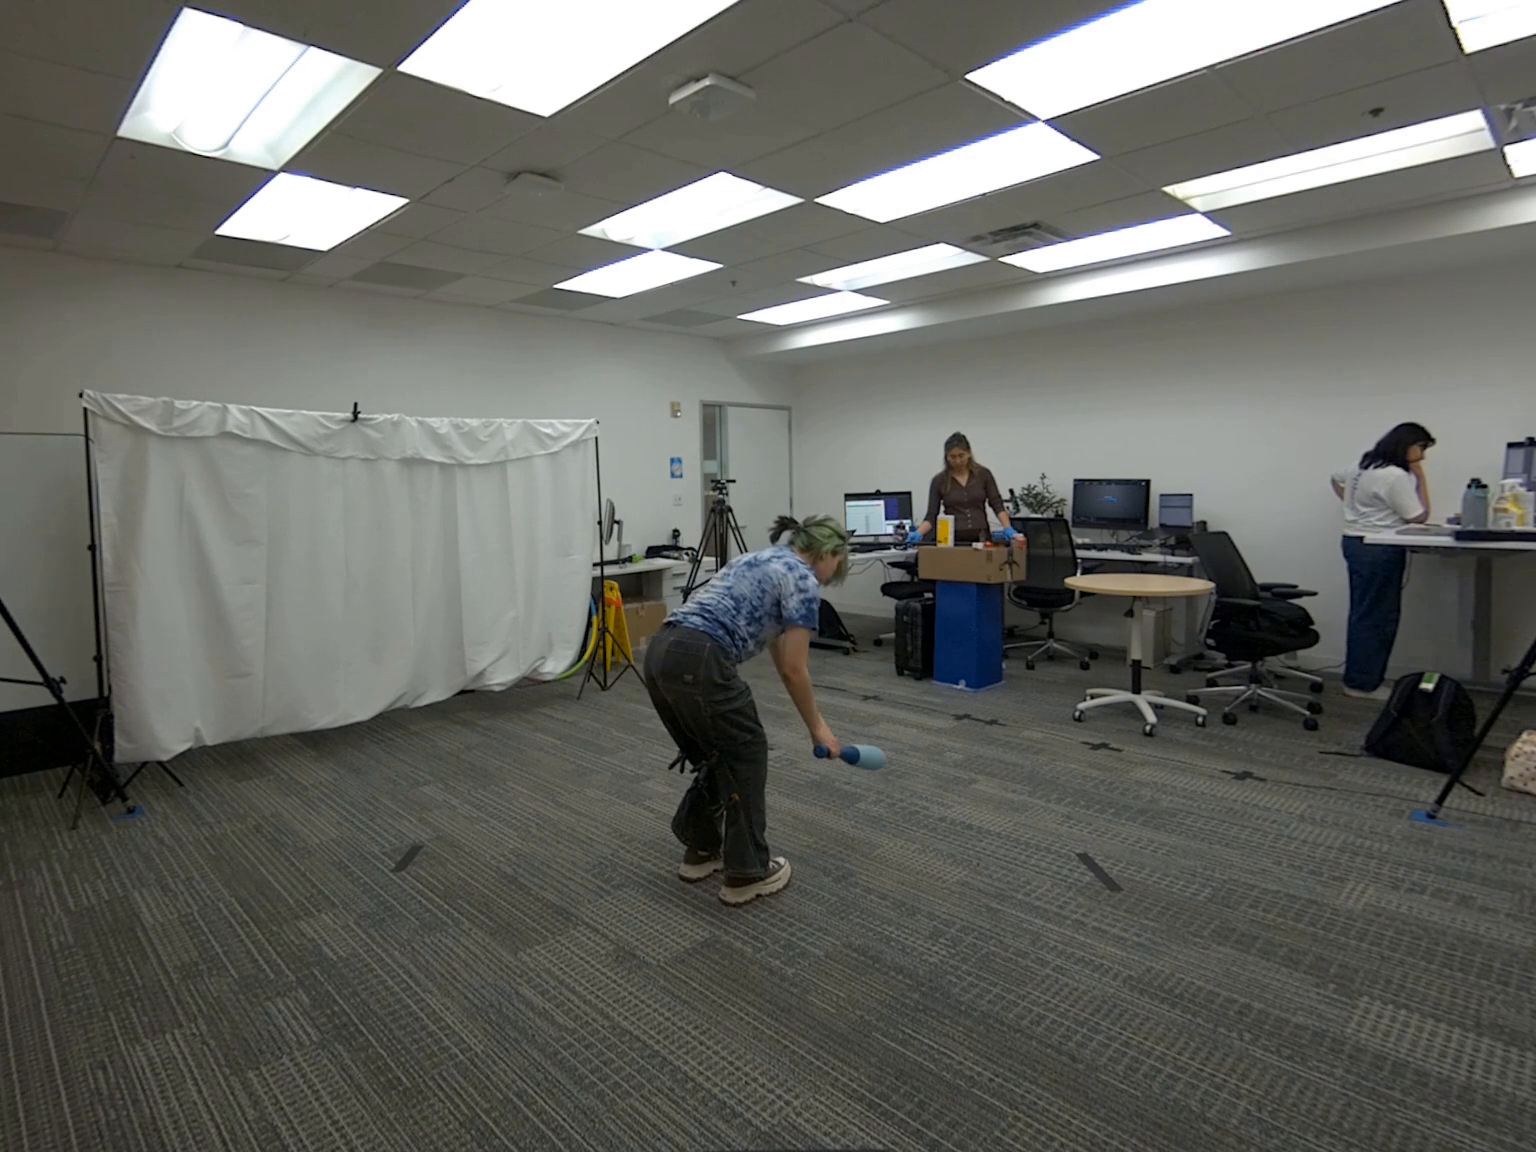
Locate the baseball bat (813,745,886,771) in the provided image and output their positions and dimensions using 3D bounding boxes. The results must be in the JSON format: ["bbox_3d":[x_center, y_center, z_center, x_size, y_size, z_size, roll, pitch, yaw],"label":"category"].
[{"bbox_3d":[0.307,0.652,3.063,0.091,0.090,0.525,2,-12,26],"label":"baseball bat"}]
